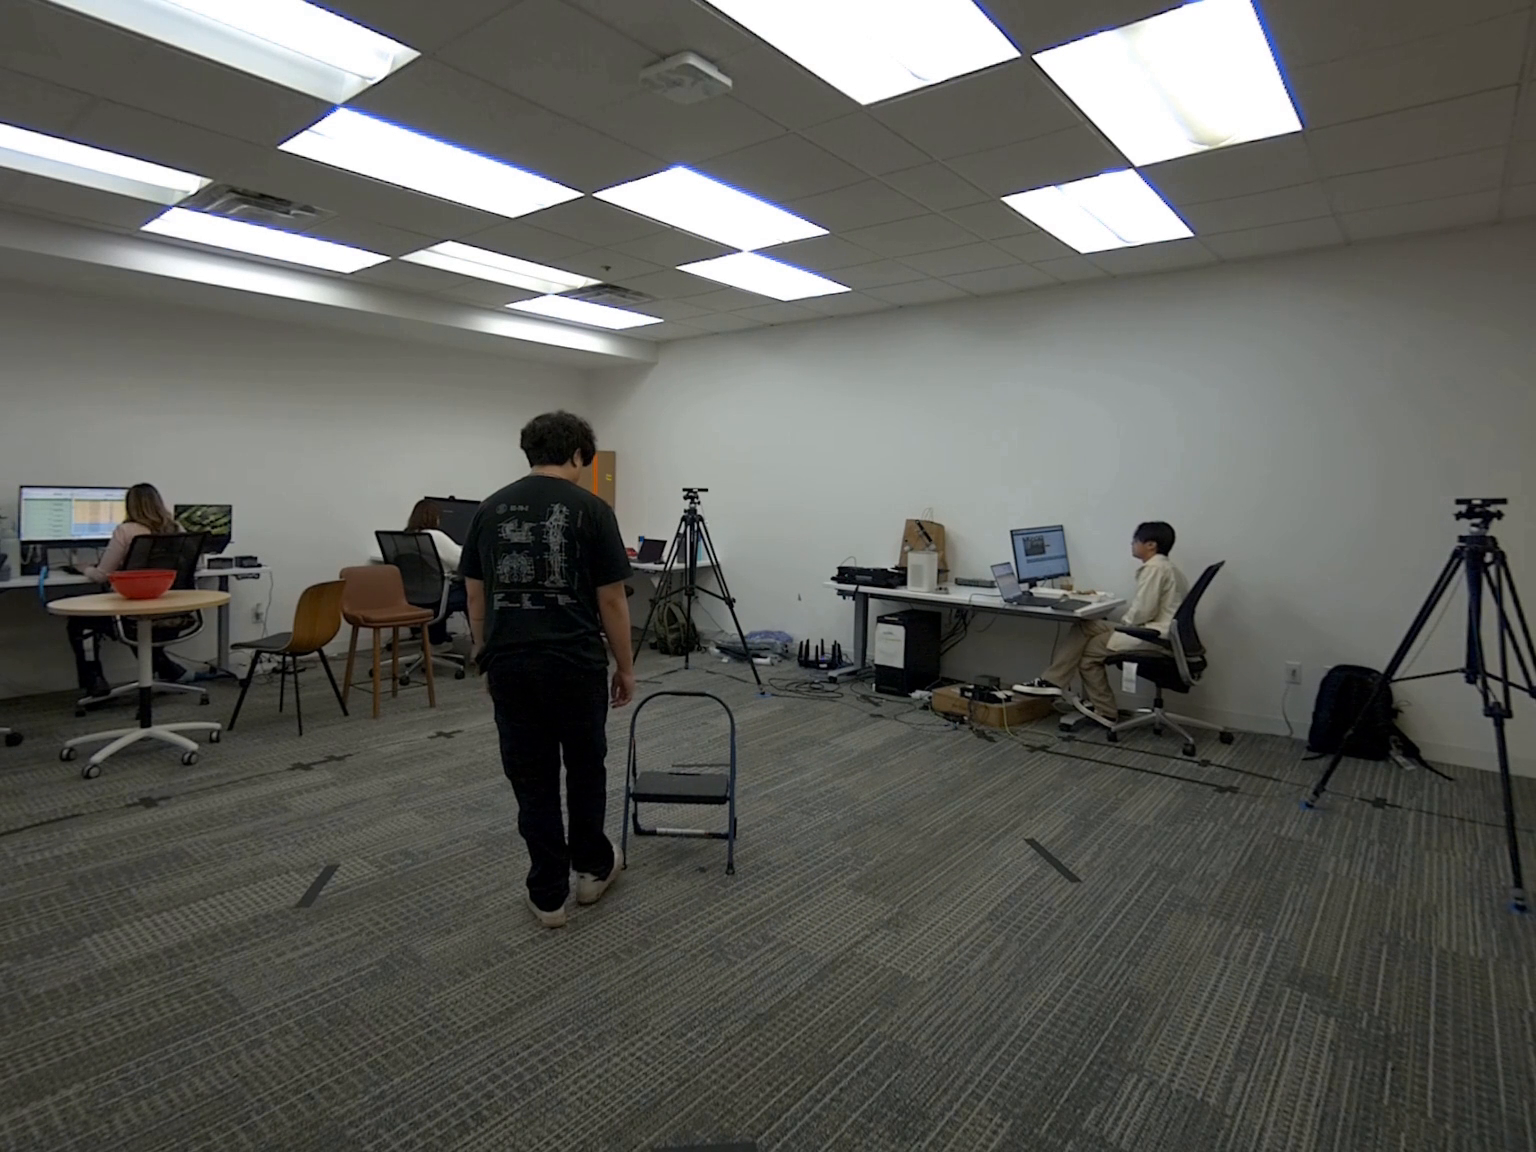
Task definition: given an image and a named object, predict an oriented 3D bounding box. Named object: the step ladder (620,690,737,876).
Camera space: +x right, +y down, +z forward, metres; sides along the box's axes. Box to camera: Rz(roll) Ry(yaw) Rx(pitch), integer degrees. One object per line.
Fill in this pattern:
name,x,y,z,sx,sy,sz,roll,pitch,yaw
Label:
step ladder,-0.336,0.756,3.244,0.432,0.604,0.349,1,3,2
